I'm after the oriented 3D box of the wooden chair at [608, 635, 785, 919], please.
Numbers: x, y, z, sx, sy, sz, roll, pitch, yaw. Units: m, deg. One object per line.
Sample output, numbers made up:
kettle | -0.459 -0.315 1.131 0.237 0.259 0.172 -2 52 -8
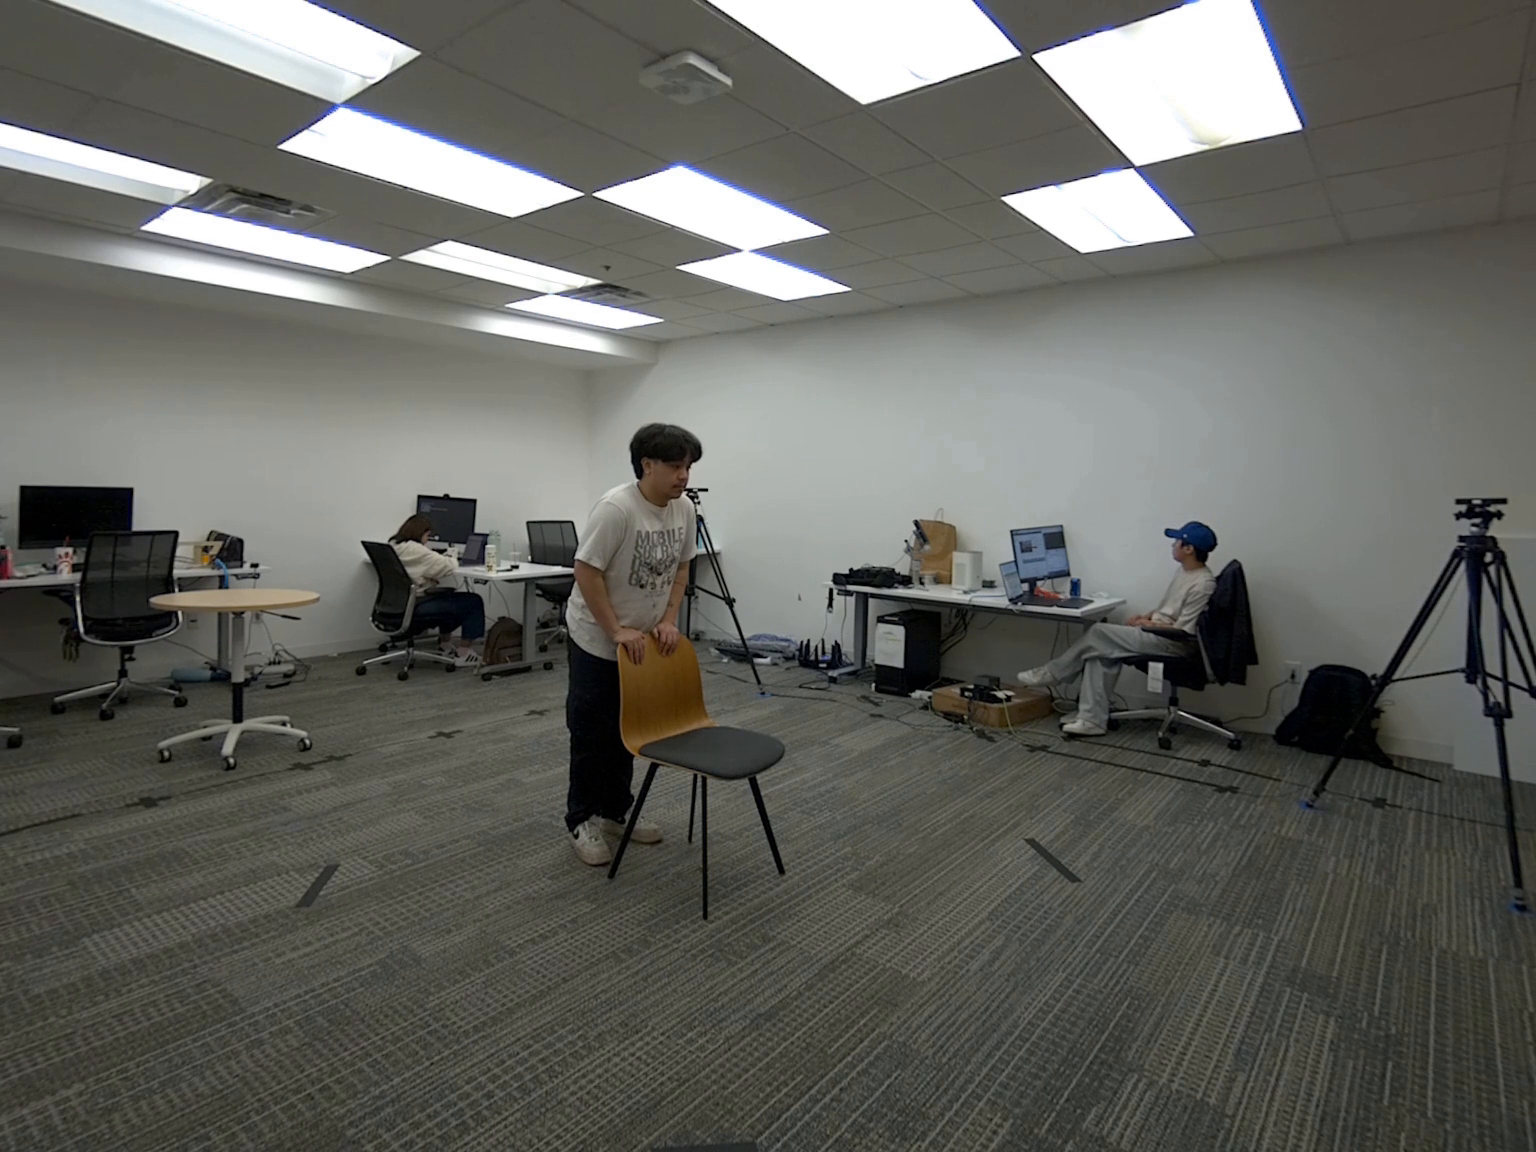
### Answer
wooden chair | -0.247 0.653 3.019 0.539 0.878 0.464 -2 0 37
